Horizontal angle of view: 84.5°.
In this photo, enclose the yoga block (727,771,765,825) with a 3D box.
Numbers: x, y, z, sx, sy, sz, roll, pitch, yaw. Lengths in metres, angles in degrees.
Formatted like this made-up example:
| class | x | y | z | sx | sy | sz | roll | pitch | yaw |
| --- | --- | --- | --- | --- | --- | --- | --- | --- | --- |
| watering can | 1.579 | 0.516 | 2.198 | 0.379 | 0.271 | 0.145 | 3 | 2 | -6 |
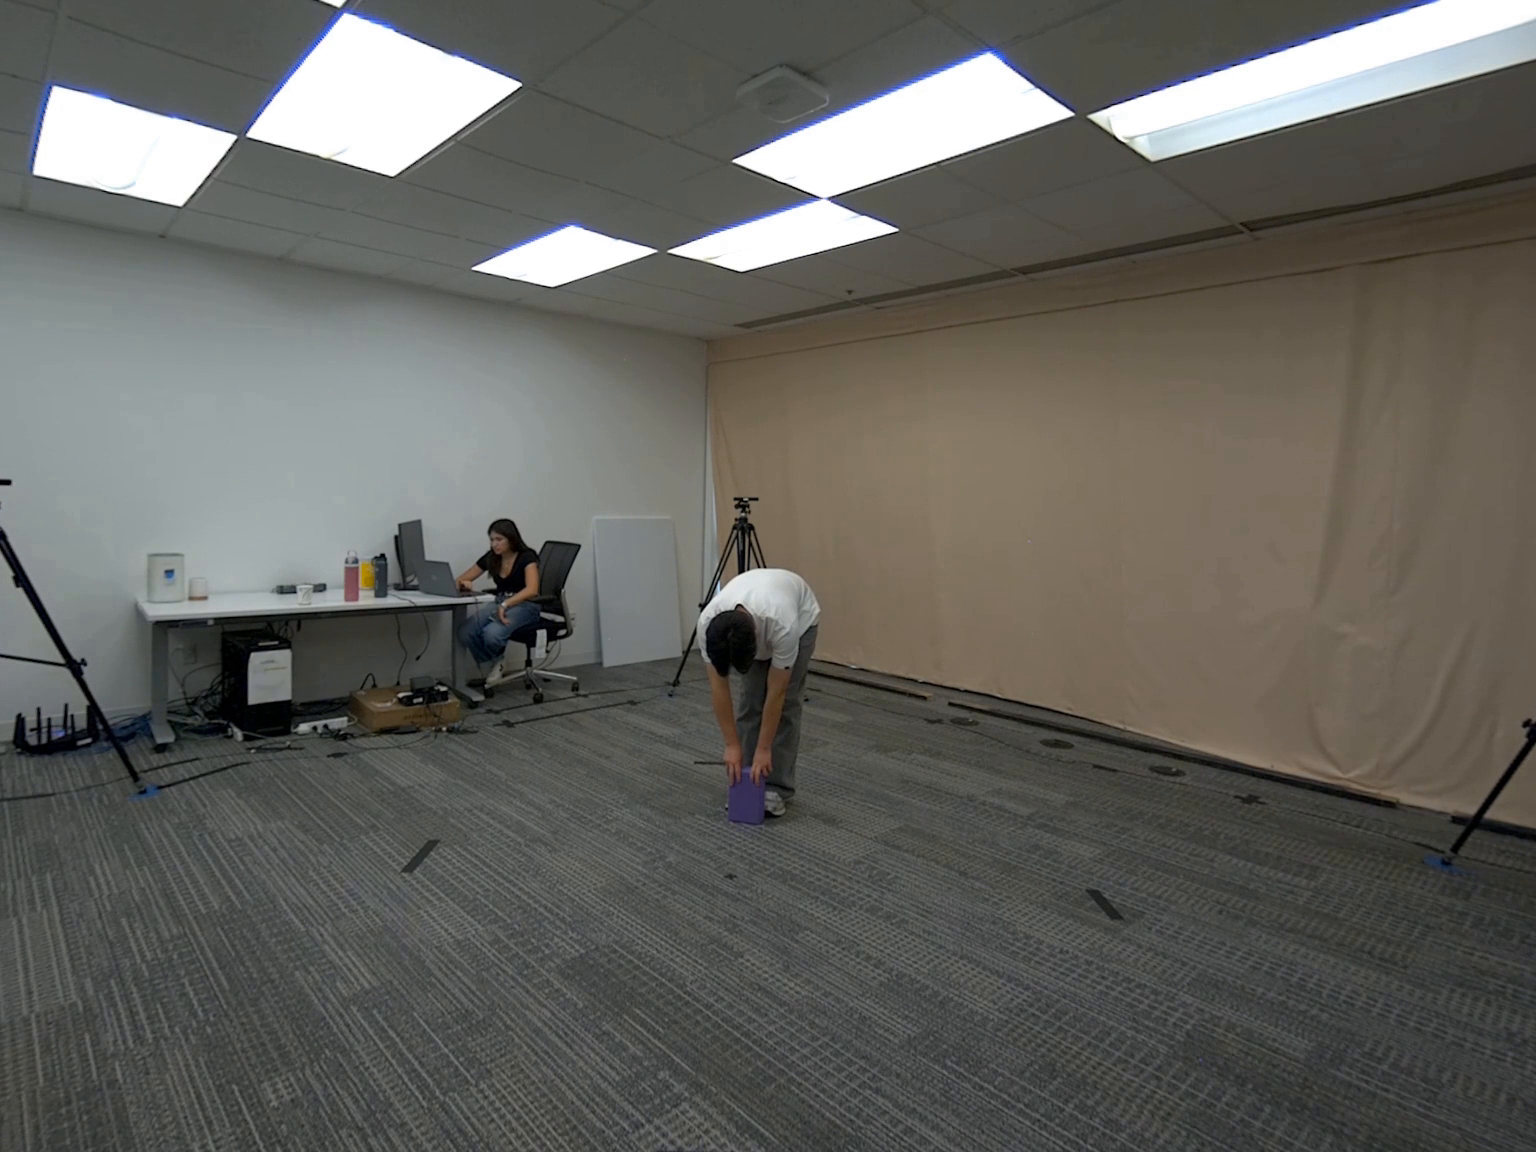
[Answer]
| class | x | y | z | sx | sy | sz | roll | pitch | yaw |
| --- | --- | --- | --- | --- | --- | --- | --- | --- | --- |
| yoga block | -0.114 | 0.959 | 3.645 | 0.150 | 0.229 | 0.076 | 1 | 3 | 11 |
